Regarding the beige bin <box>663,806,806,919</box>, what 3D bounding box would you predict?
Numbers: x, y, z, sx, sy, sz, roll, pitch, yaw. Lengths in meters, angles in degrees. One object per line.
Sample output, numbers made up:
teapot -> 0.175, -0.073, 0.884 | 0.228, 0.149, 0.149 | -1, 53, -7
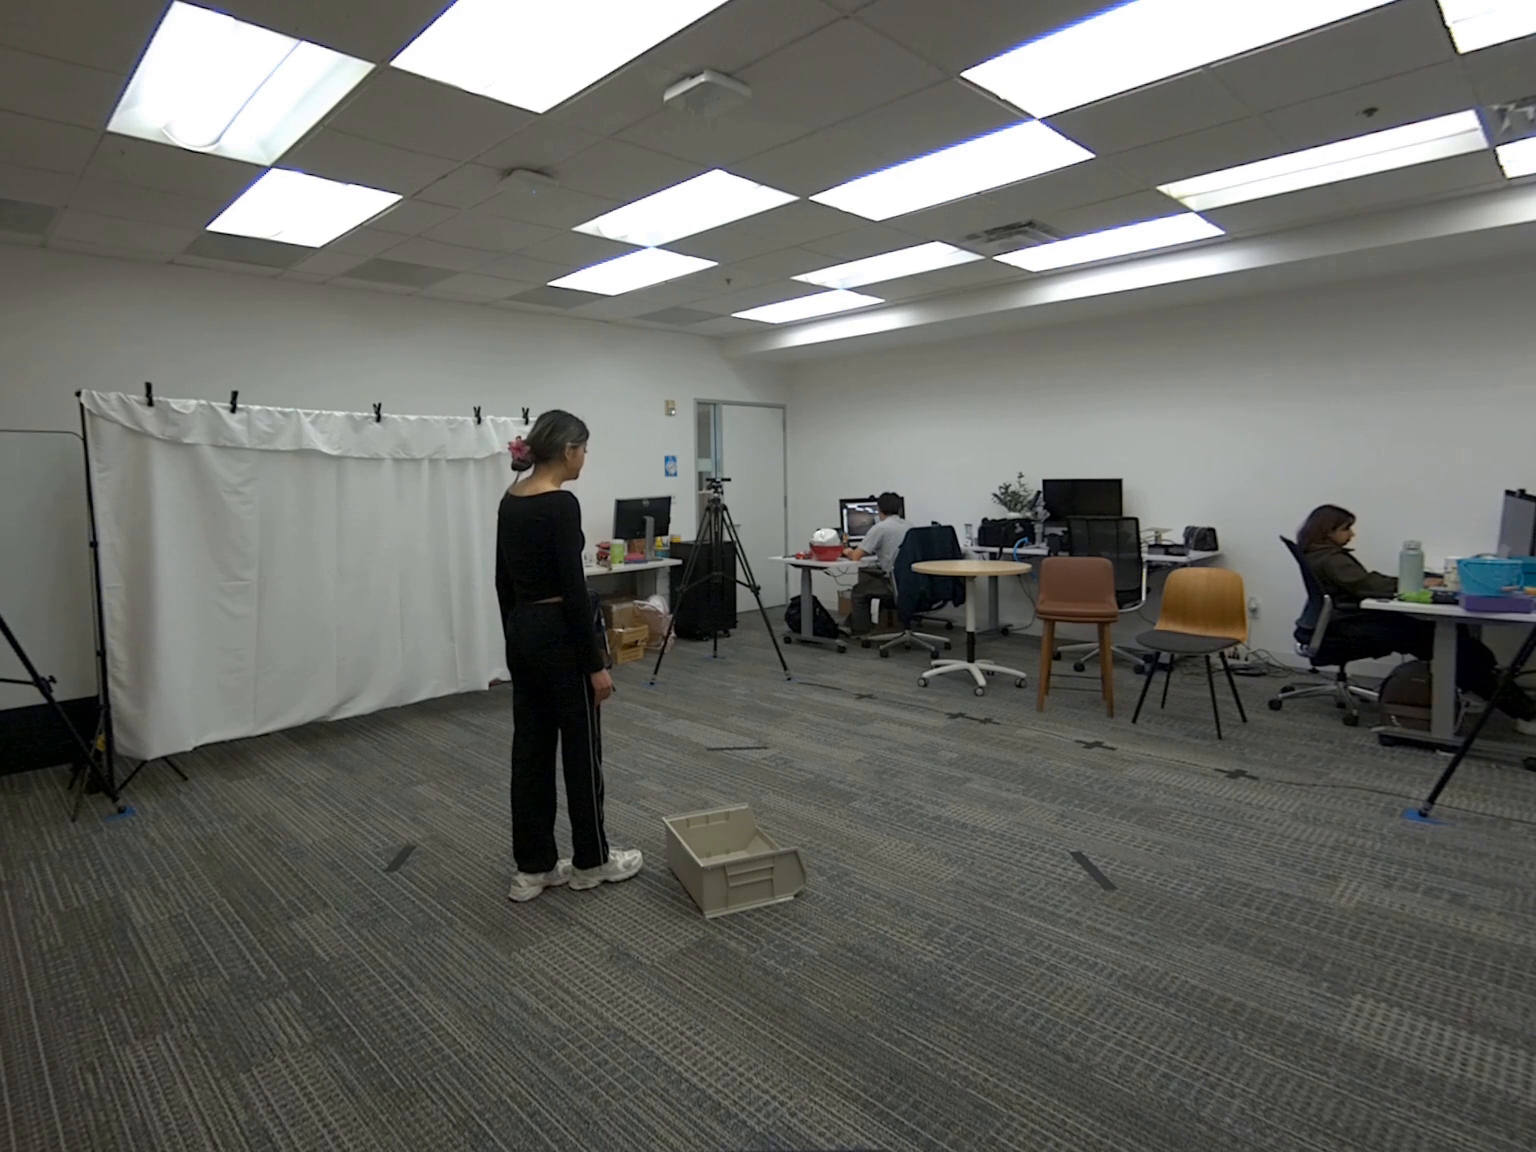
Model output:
beige bin -> -0.124, 0.972, 2.963 | 0.370, 0.188, 0.433 | -4, 8, -23
